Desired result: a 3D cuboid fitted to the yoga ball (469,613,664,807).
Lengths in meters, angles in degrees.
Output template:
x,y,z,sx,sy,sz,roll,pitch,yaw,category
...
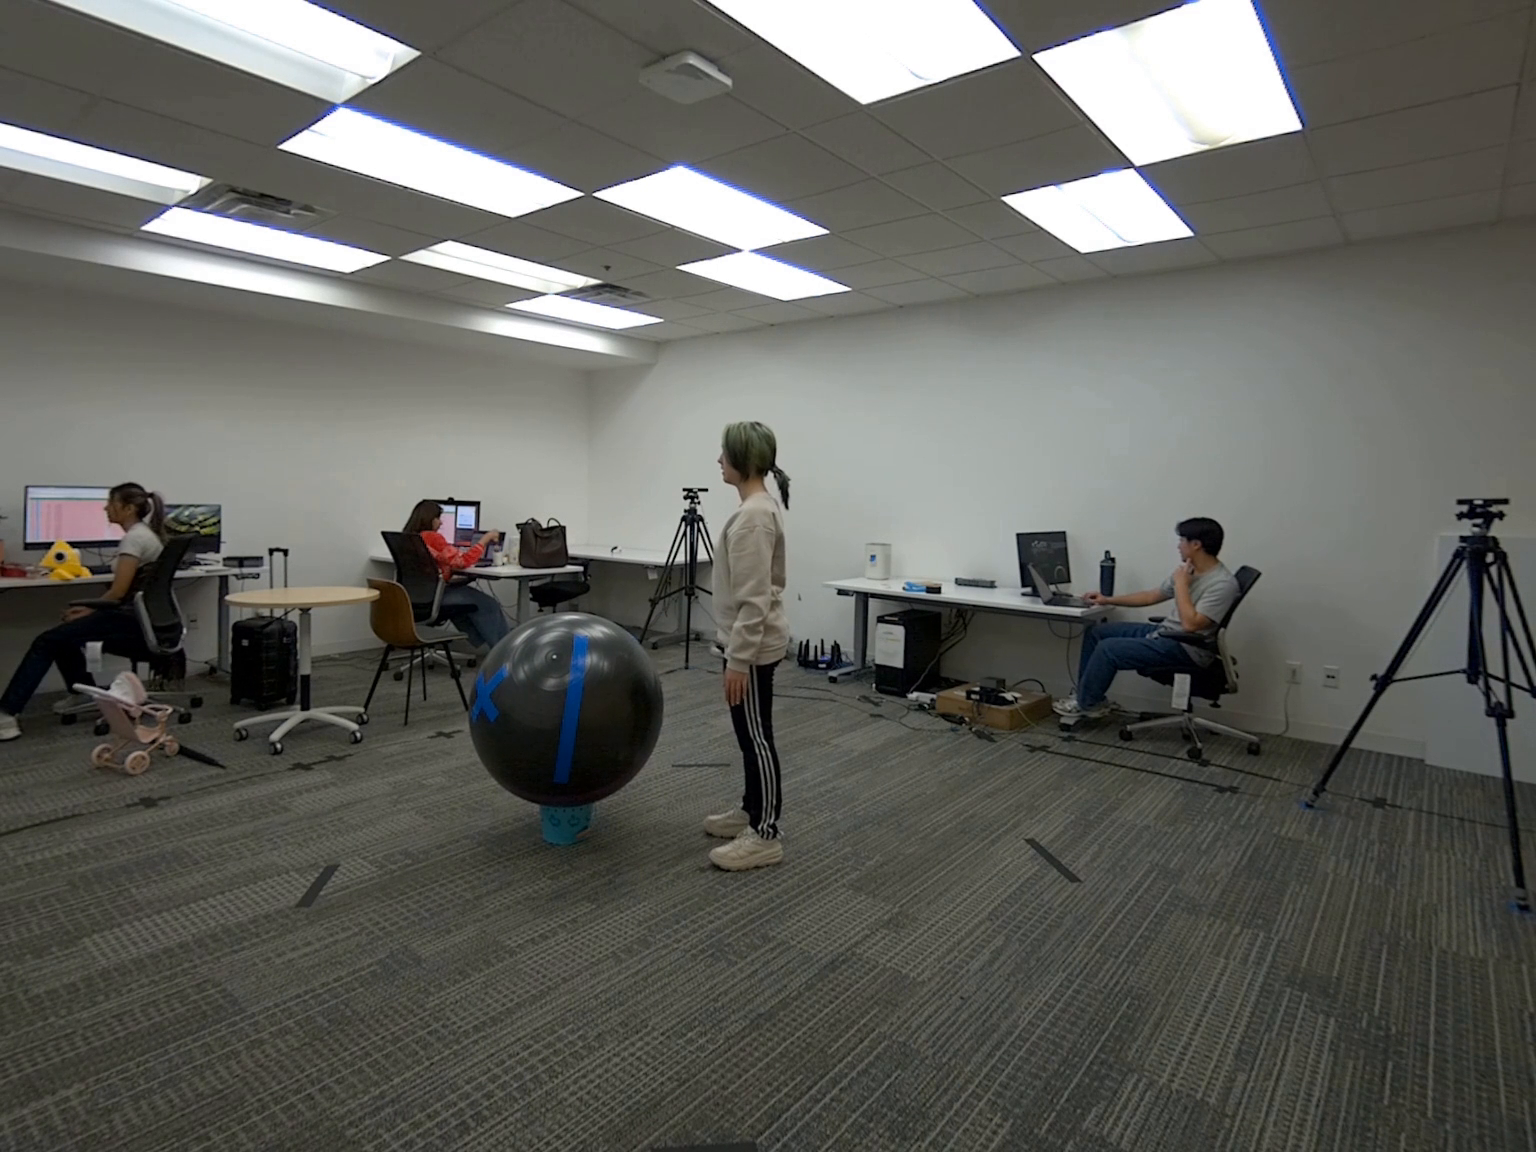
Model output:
x,y,z,sx,sy,sz,roll,pitch,yaw,category
-0.811,0.523,3.376,0.757,0.755,0.762,1,4,-2,yoga ball
